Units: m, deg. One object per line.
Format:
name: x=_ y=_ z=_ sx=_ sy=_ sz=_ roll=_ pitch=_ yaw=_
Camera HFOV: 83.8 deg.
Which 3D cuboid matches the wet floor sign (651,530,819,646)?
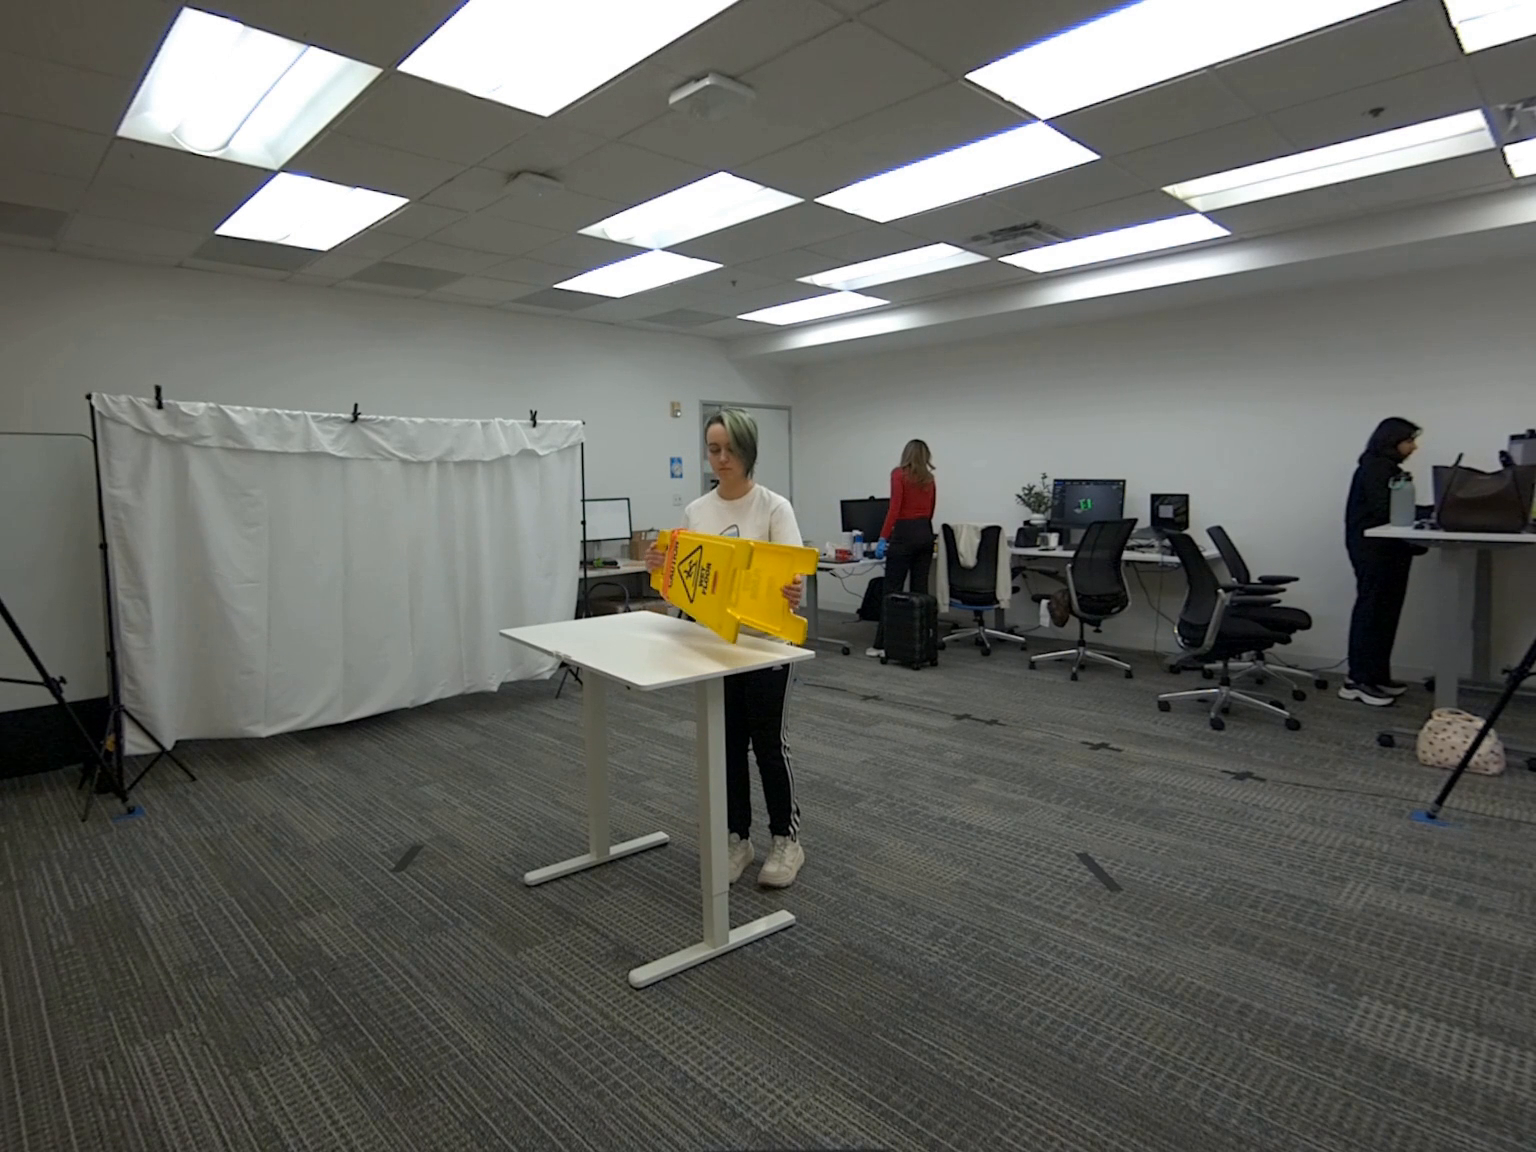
wet floor sign: x=-0.169 y=-0.001 z=2.629 sx=0.281 sy=0.281 sz=0.668 roll=4 pitch=7 yaw=-39
